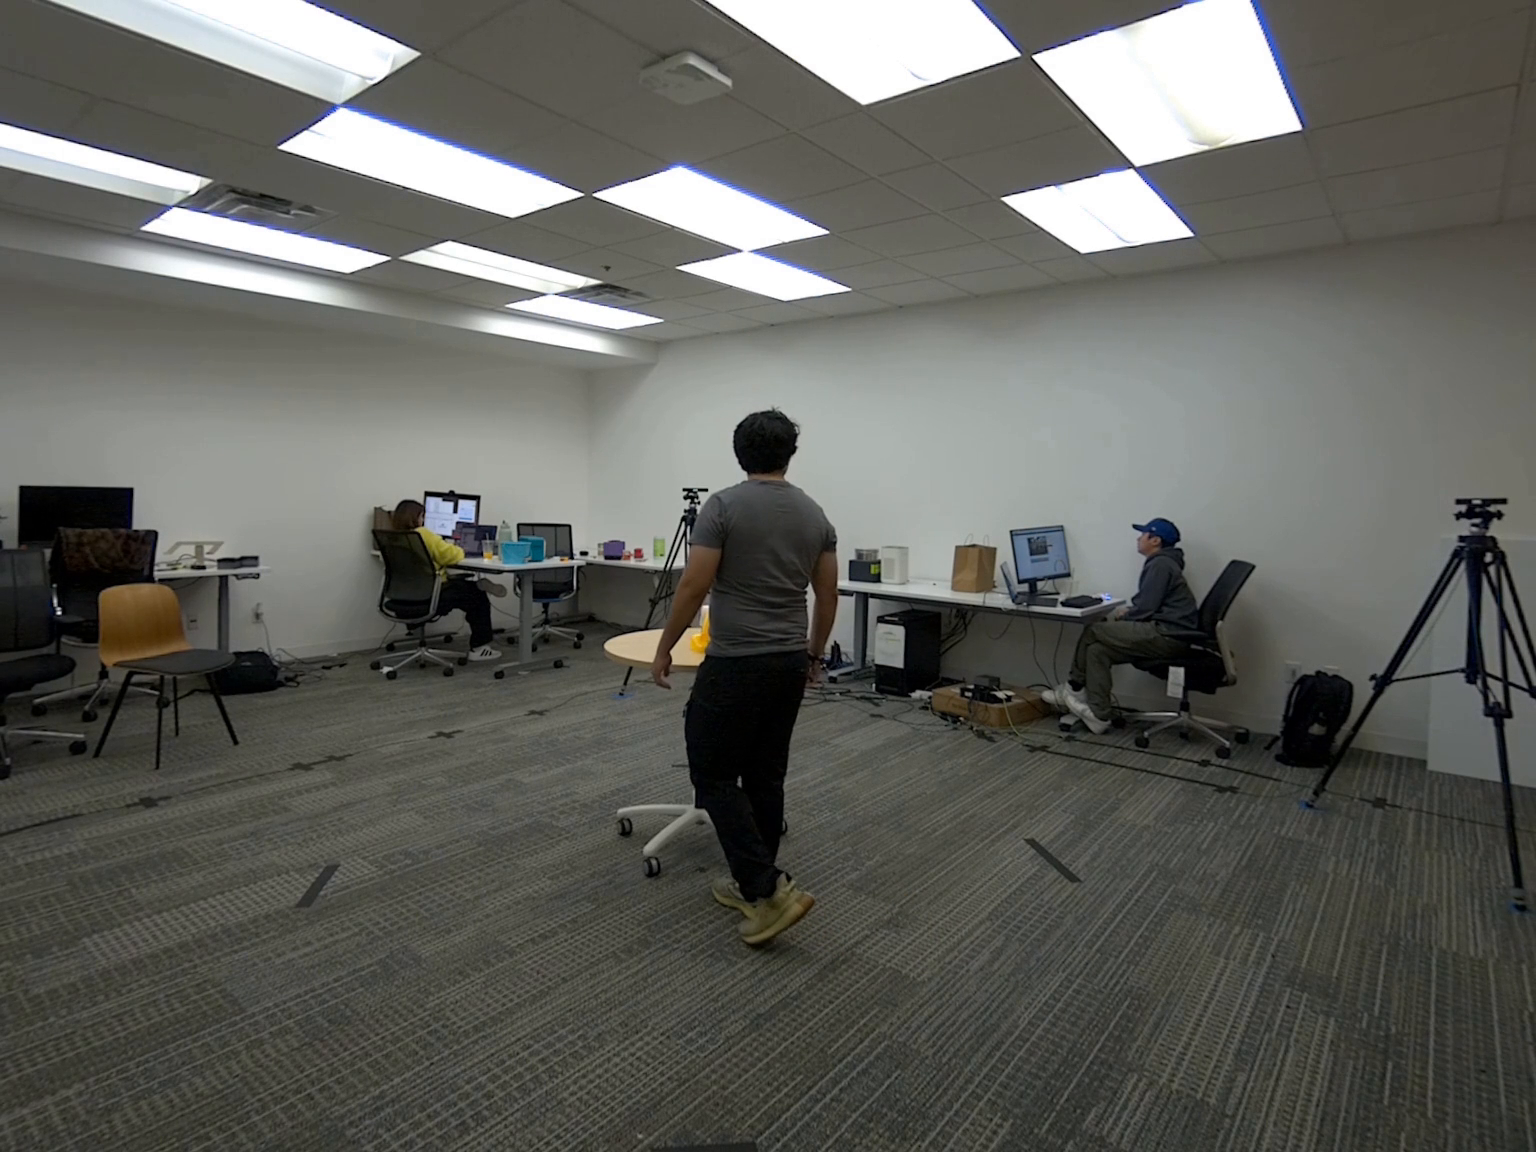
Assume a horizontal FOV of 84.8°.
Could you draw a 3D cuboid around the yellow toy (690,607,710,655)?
[{"bbox_3d":[-0.200,0.161,3.239,0.199,0.230,0.199,-2,6,-28],"label":"yellow toy"}]
